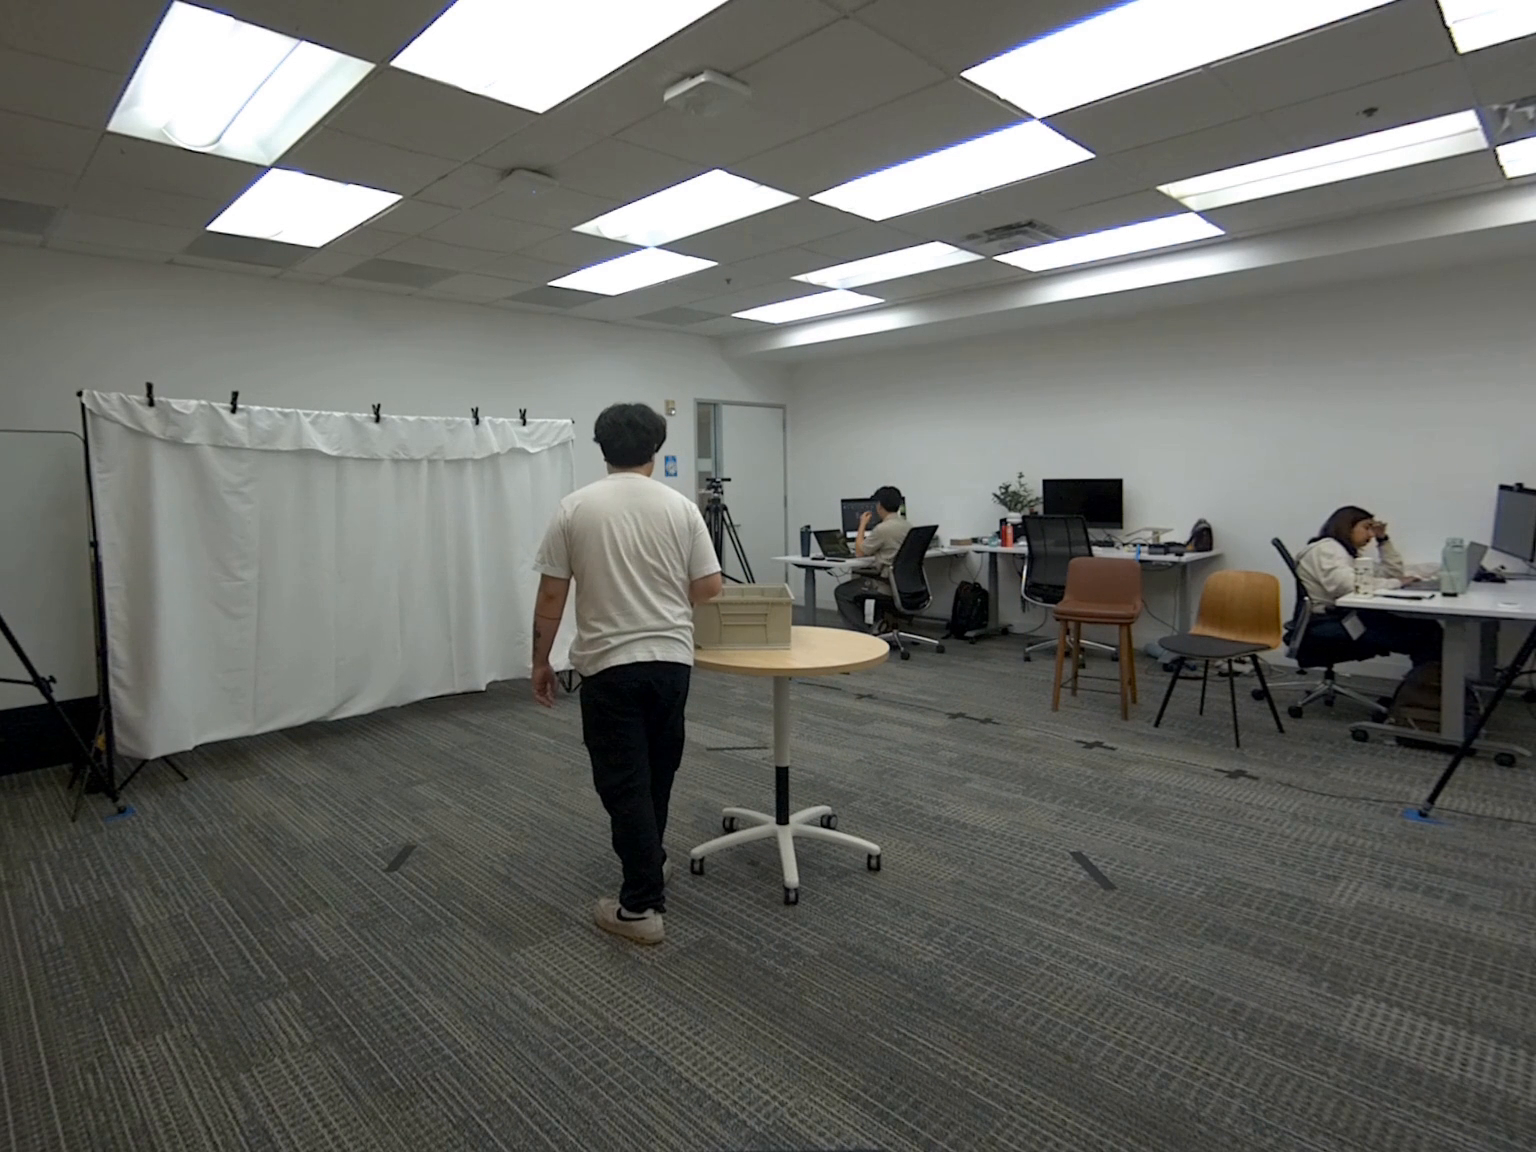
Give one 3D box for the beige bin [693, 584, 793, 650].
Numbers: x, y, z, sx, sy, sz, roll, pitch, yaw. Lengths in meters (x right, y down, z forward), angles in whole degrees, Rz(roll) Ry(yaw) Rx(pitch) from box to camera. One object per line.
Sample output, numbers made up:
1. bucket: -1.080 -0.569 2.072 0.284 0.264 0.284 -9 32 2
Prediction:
1. beige bin: -0.105 0.143 3.181 0.377 0.188 0.425 0 6 -1
